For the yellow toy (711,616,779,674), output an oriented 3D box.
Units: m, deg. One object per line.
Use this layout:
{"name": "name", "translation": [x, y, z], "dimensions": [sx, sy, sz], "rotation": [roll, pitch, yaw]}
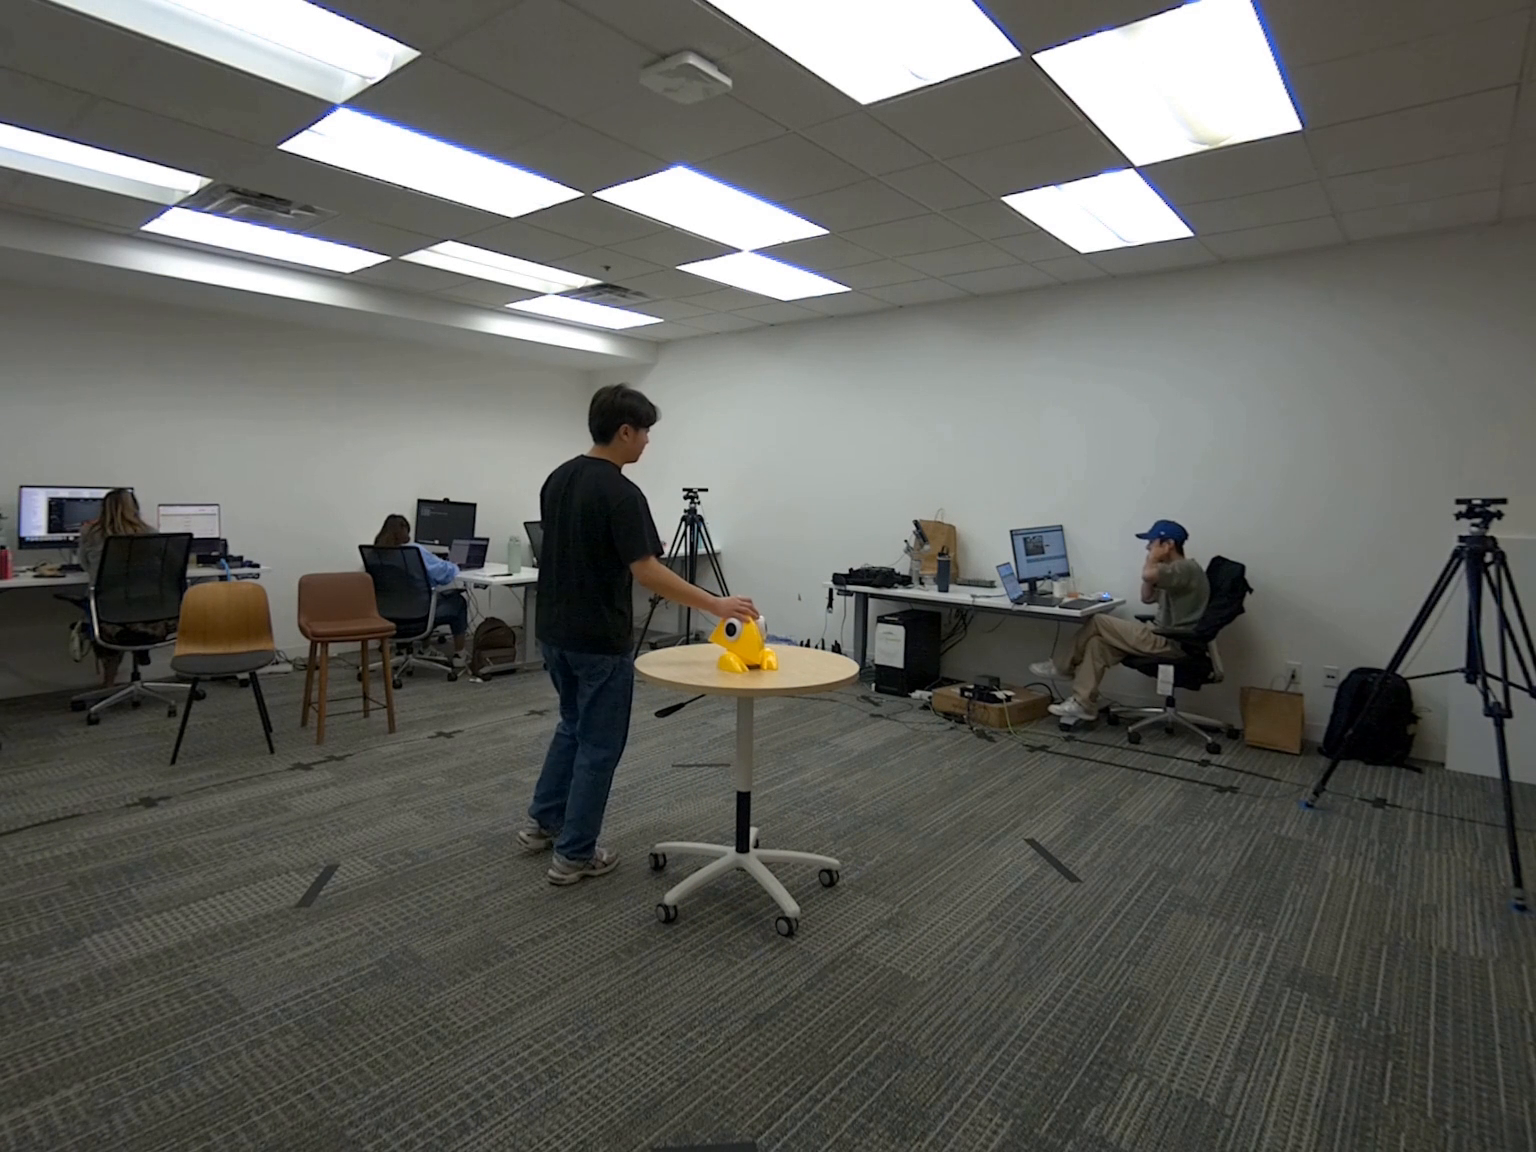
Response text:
{"name": "yellow toy", "translation": [-0.080, 0.188, 2.850], "dimensions": [0.200, 0.230, 0.198], "rotation": [0, 3, -27]}
